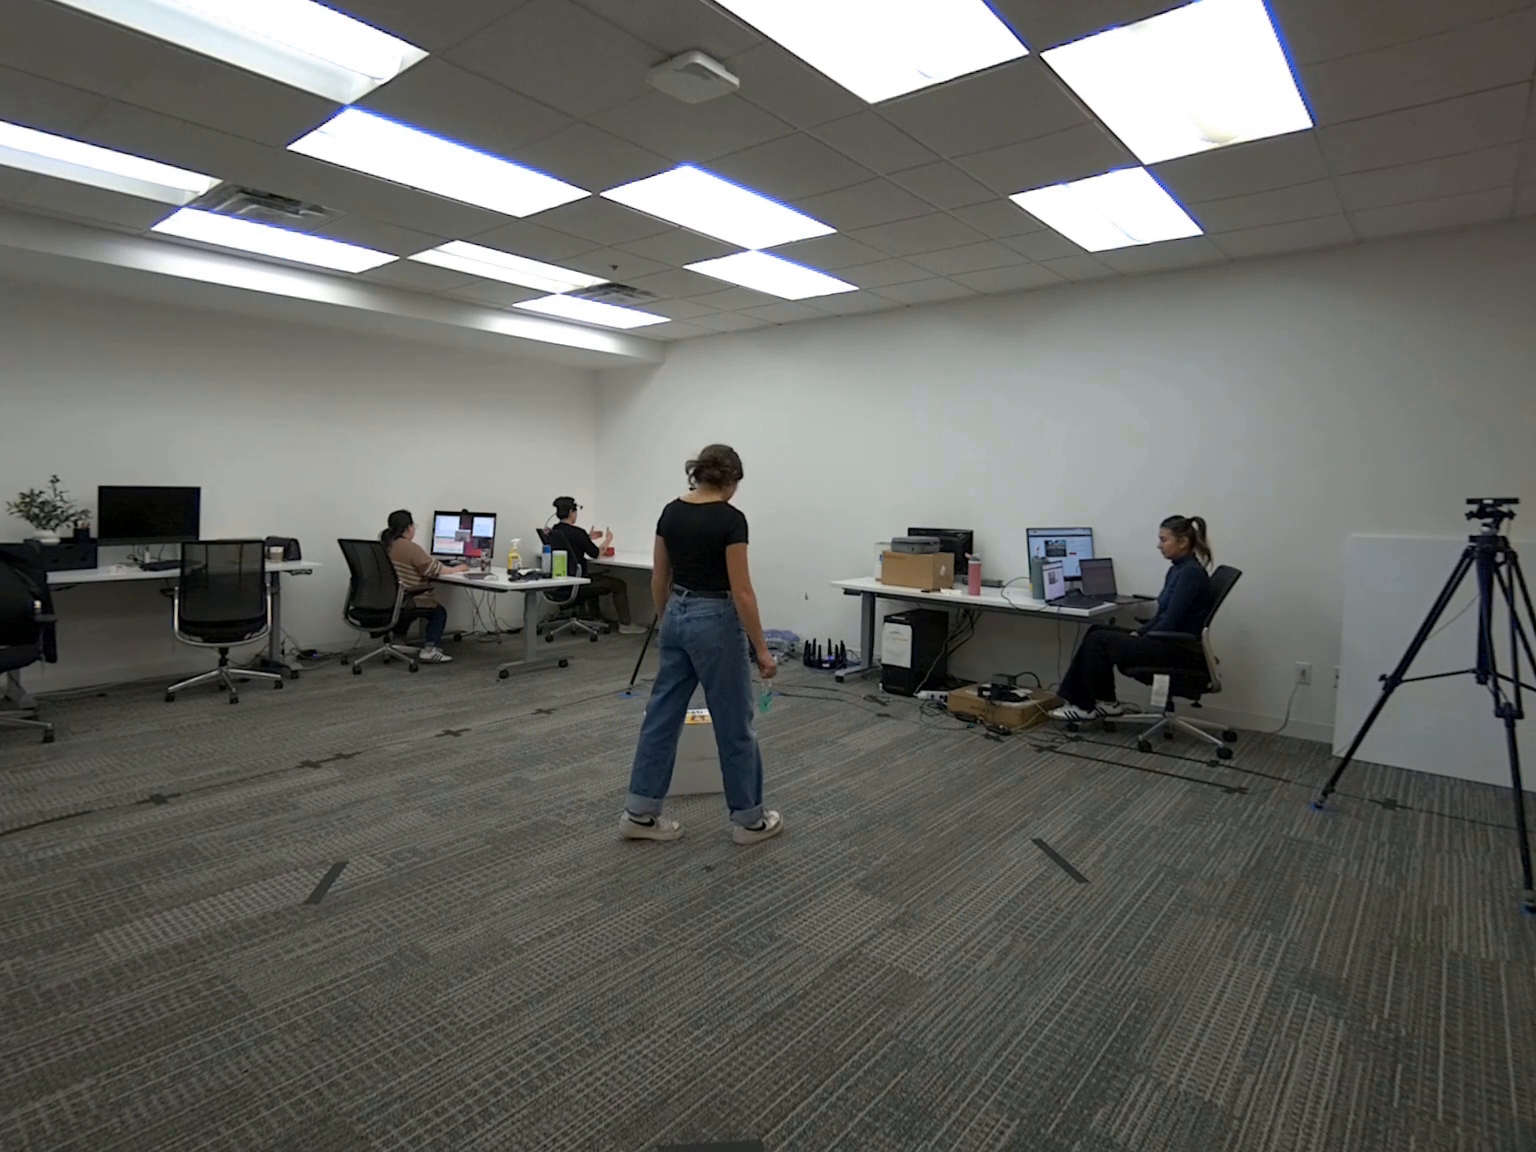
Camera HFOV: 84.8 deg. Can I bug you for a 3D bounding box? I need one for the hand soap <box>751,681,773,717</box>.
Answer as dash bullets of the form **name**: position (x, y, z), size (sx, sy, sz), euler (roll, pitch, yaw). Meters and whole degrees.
- **hand soap**: position (-0.020, 0.439, 3.277), size (0.045, 0.166, 0.083), euler (7, 13, 29)
